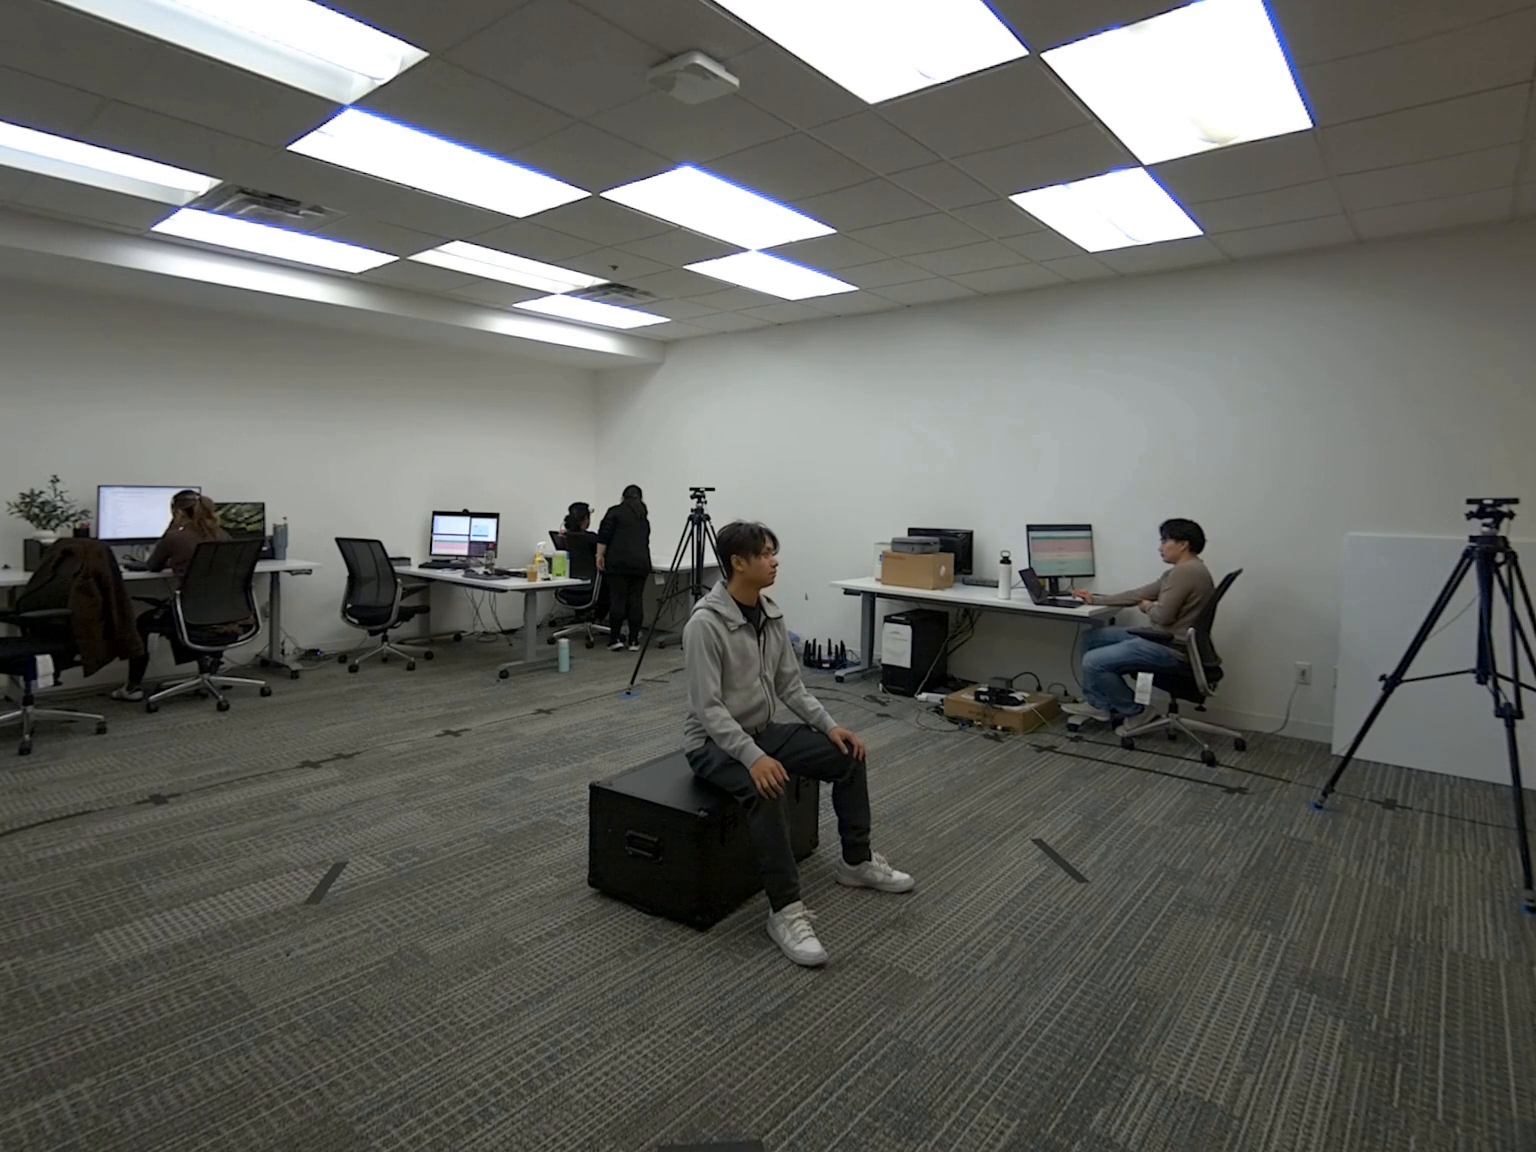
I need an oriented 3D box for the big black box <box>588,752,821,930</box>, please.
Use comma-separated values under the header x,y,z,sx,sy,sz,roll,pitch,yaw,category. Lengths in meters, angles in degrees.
x,y,z,sx,sy,sz,roll,pitch,yaw,category
-0.238,0.887,3.059,0.537,0.395,0.838,3,6,32,big black box
